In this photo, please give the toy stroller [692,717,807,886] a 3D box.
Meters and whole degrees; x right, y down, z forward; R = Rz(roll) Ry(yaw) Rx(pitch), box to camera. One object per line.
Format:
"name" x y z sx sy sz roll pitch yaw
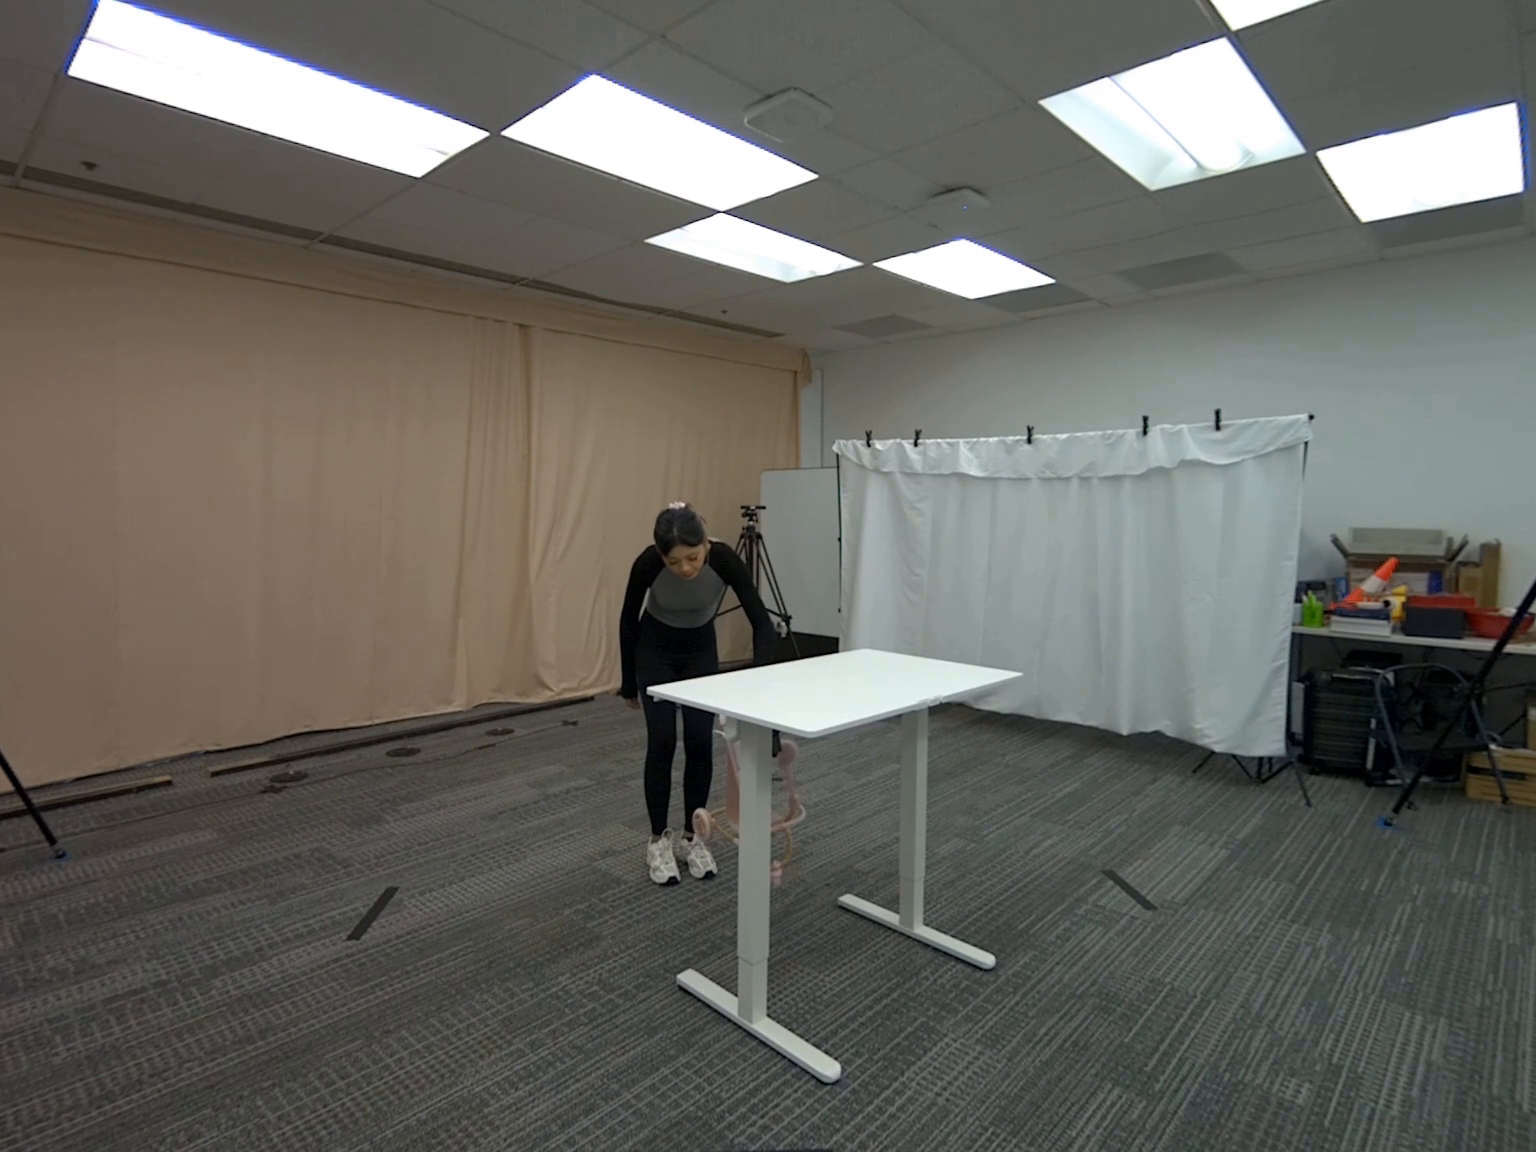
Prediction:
"toy stroller" -0.029 0.713 2.717 0.274 0.530 0.354 -4 22 -33
